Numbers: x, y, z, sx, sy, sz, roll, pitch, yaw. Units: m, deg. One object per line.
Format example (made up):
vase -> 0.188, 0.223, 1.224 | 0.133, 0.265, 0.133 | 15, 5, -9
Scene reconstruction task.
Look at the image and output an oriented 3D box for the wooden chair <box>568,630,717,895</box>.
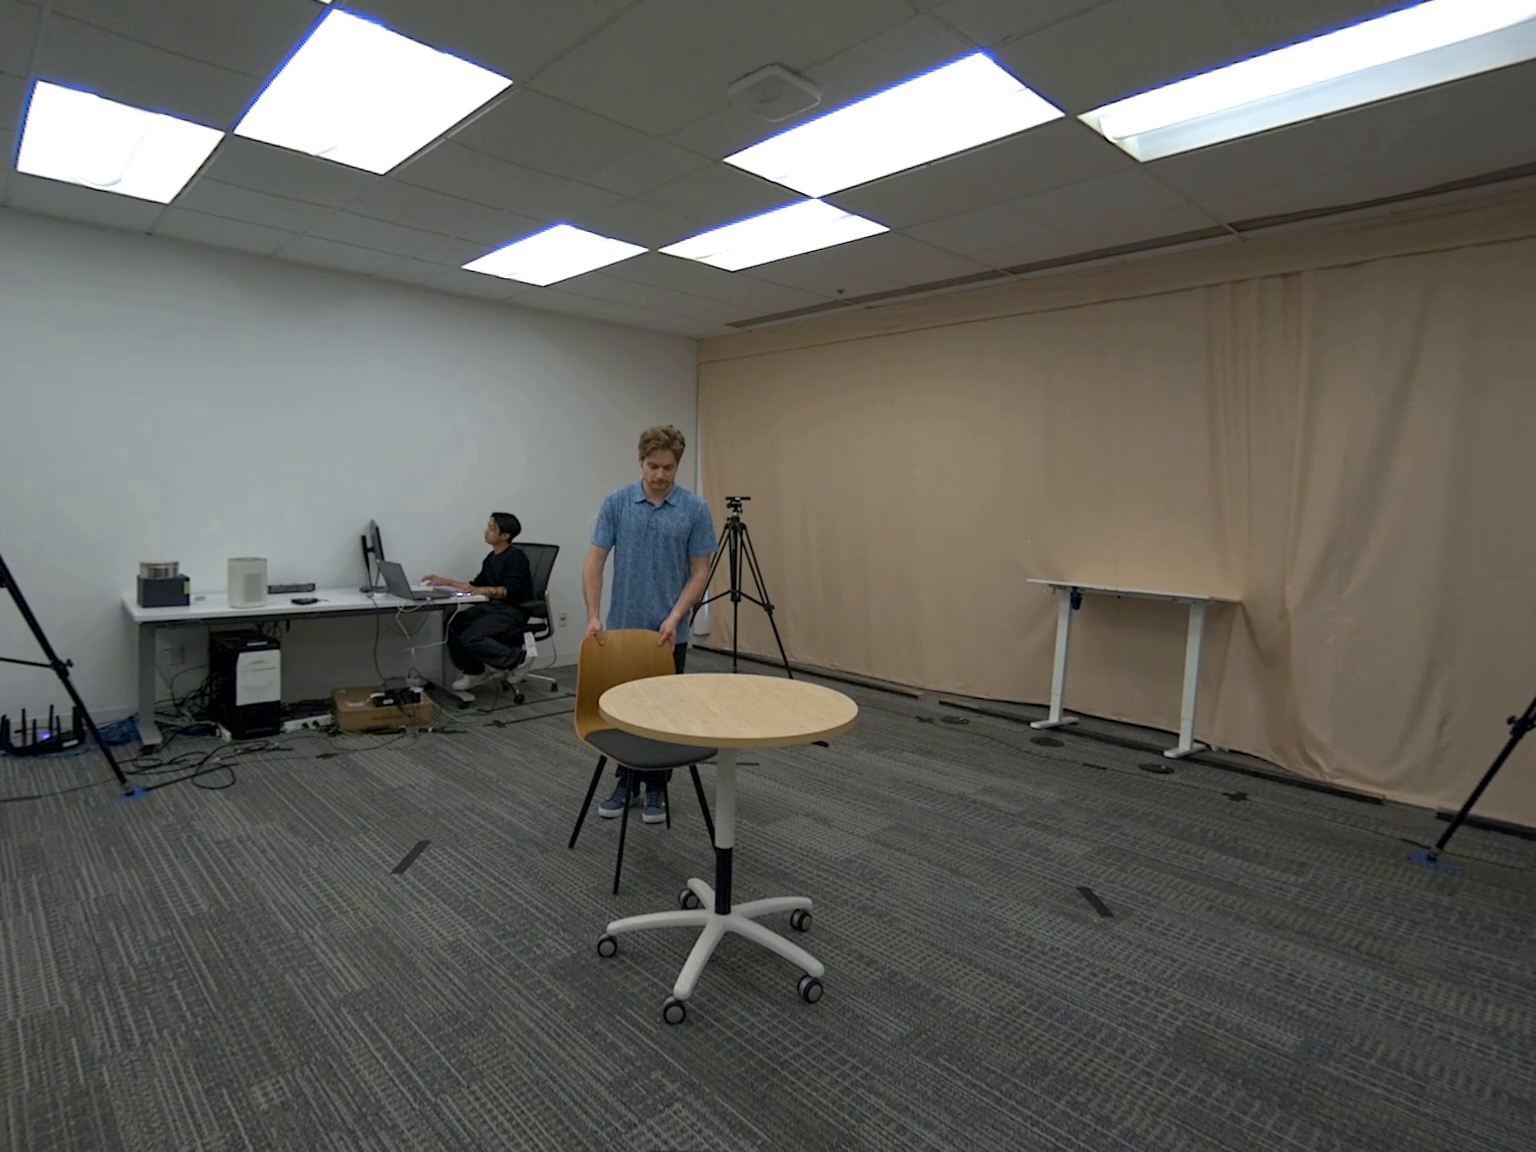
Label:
wooden chair -> -0.465, 0.665, 3.202 | 0.468, 0.878, 0.534 | -1, 0, -34
